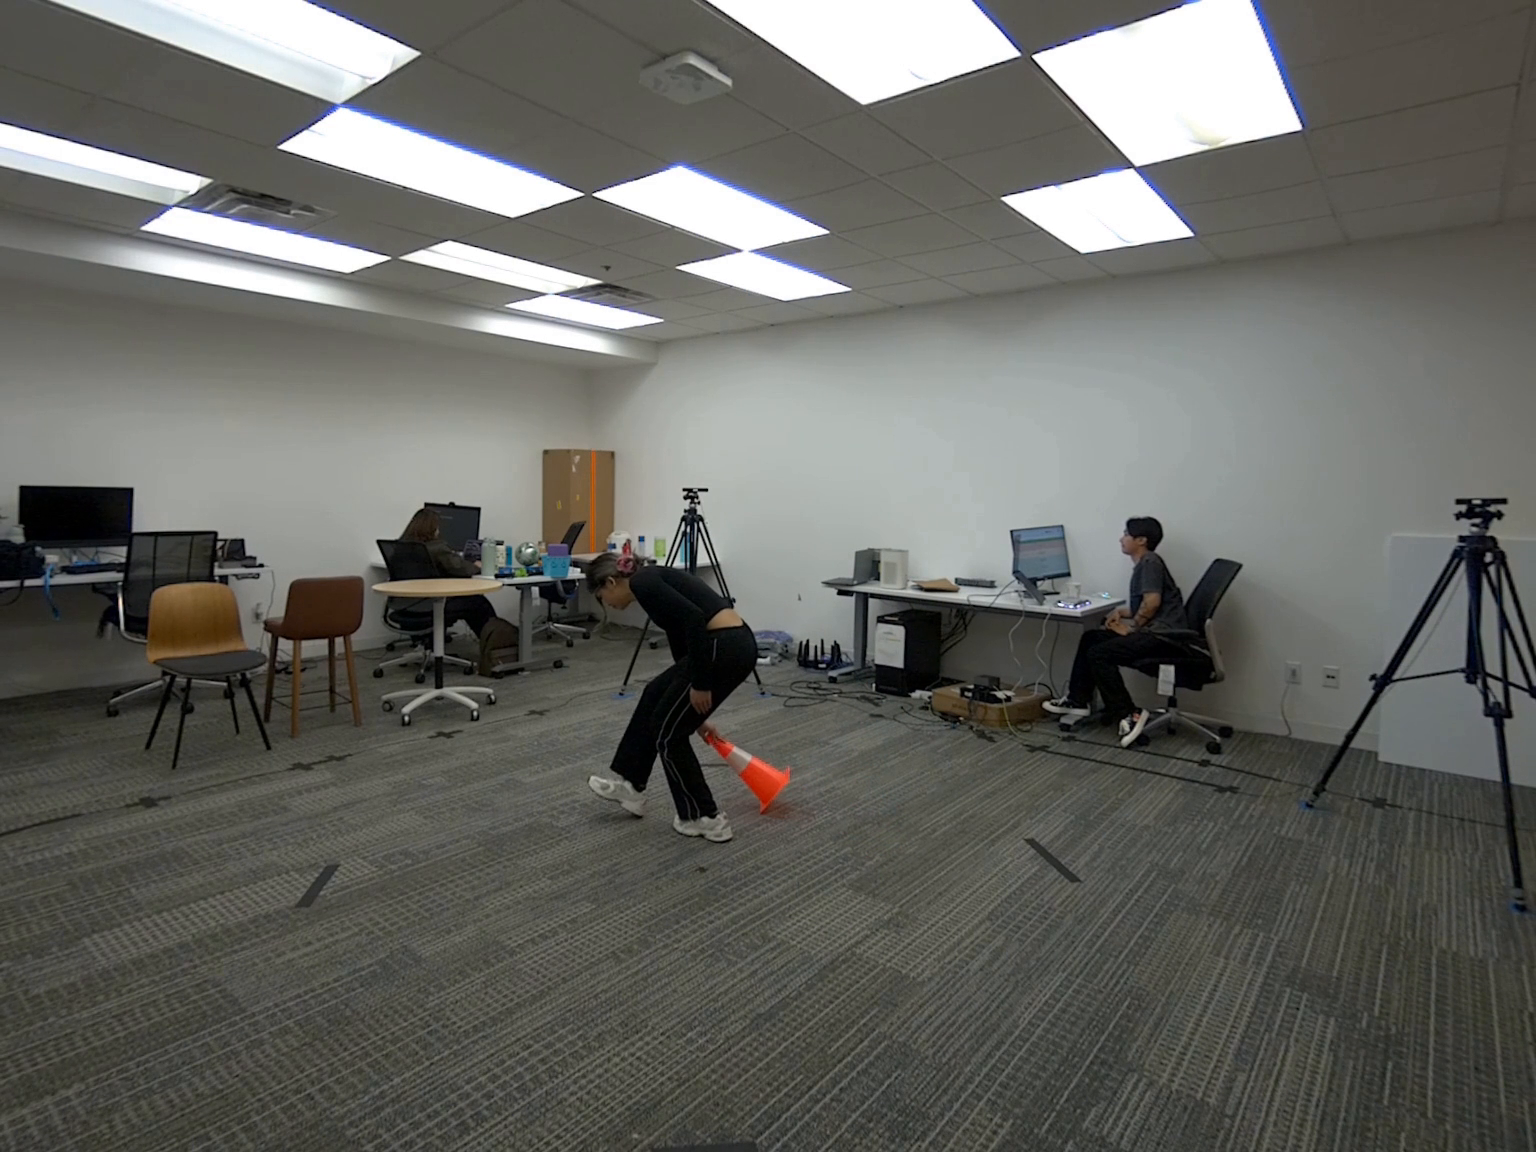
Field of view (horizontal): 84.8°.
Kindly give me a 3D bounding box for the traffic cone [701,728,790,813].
[{"bbox_3d":[-0.127,0.819,3.751,0.386,0.203,0.204,40,7,3],"label":"traffic cone"}]
